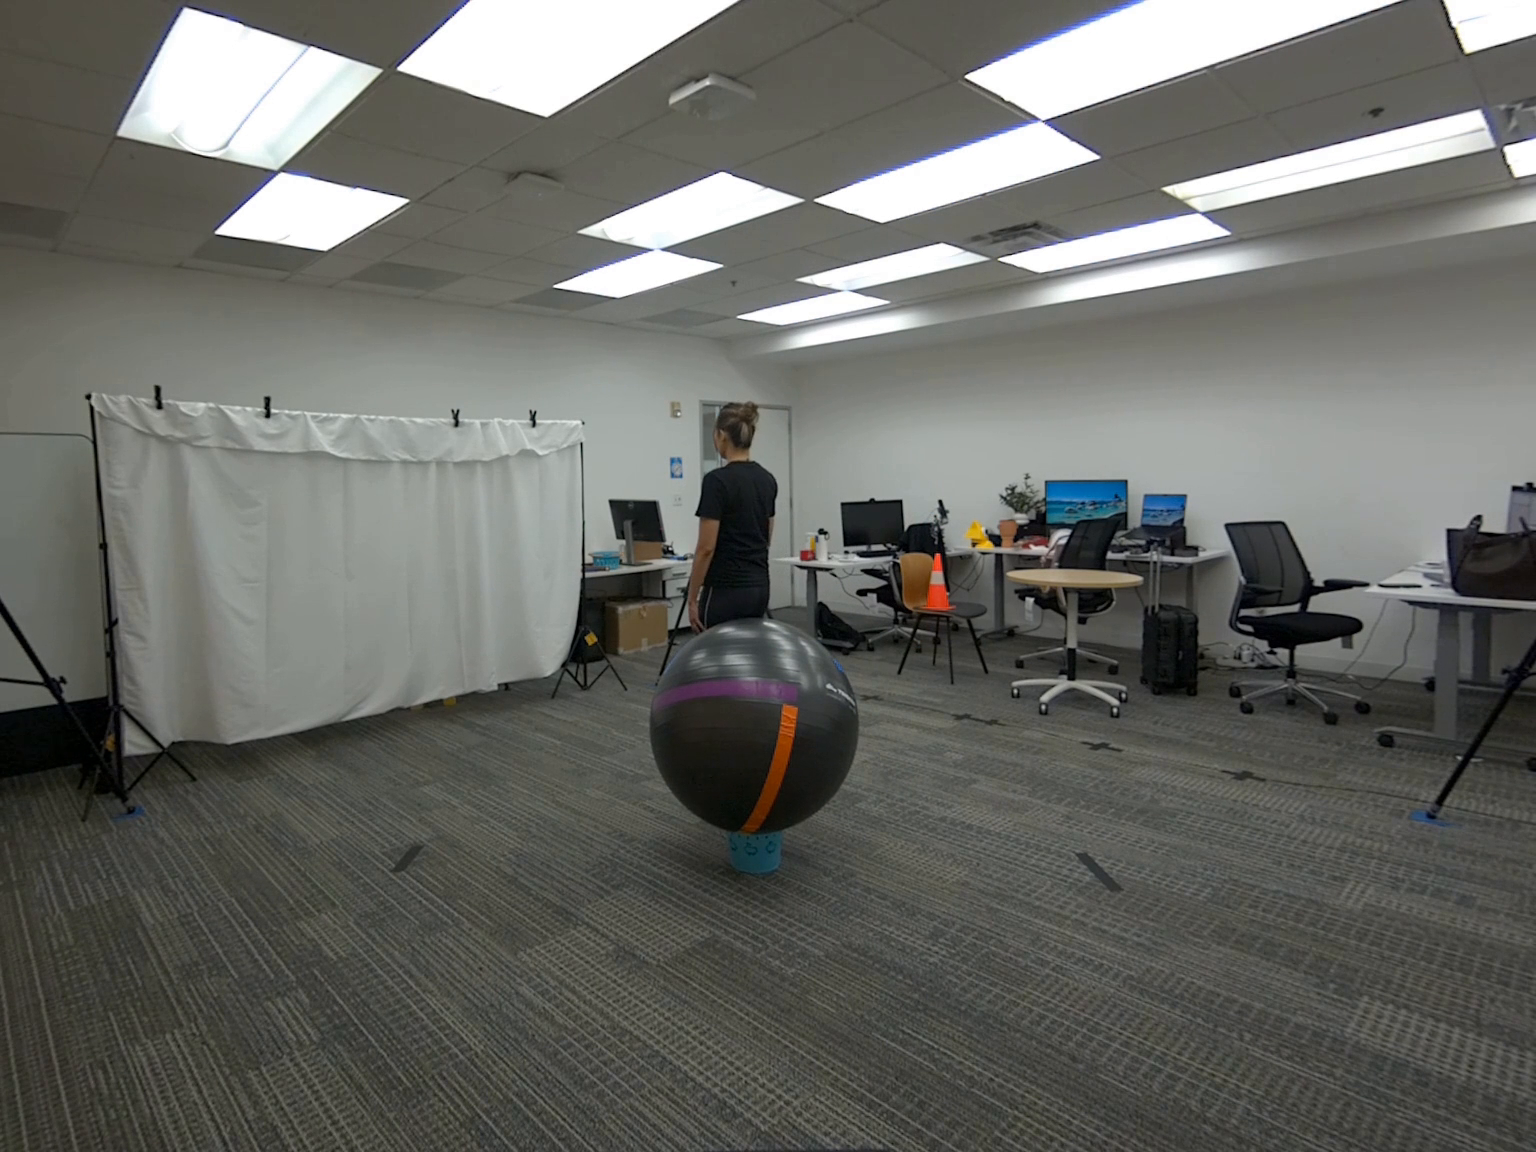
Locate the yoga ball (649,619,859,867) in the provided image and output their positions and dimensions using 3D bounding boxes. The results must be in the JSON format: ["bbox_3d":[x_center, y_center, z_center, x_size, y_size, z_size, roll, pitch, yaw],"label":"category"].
[{"bbox_3d":[-0.051,0.544,3.097,0.757,0.755,0.762,-1,5,-2],"label":"yoga ball"}]
